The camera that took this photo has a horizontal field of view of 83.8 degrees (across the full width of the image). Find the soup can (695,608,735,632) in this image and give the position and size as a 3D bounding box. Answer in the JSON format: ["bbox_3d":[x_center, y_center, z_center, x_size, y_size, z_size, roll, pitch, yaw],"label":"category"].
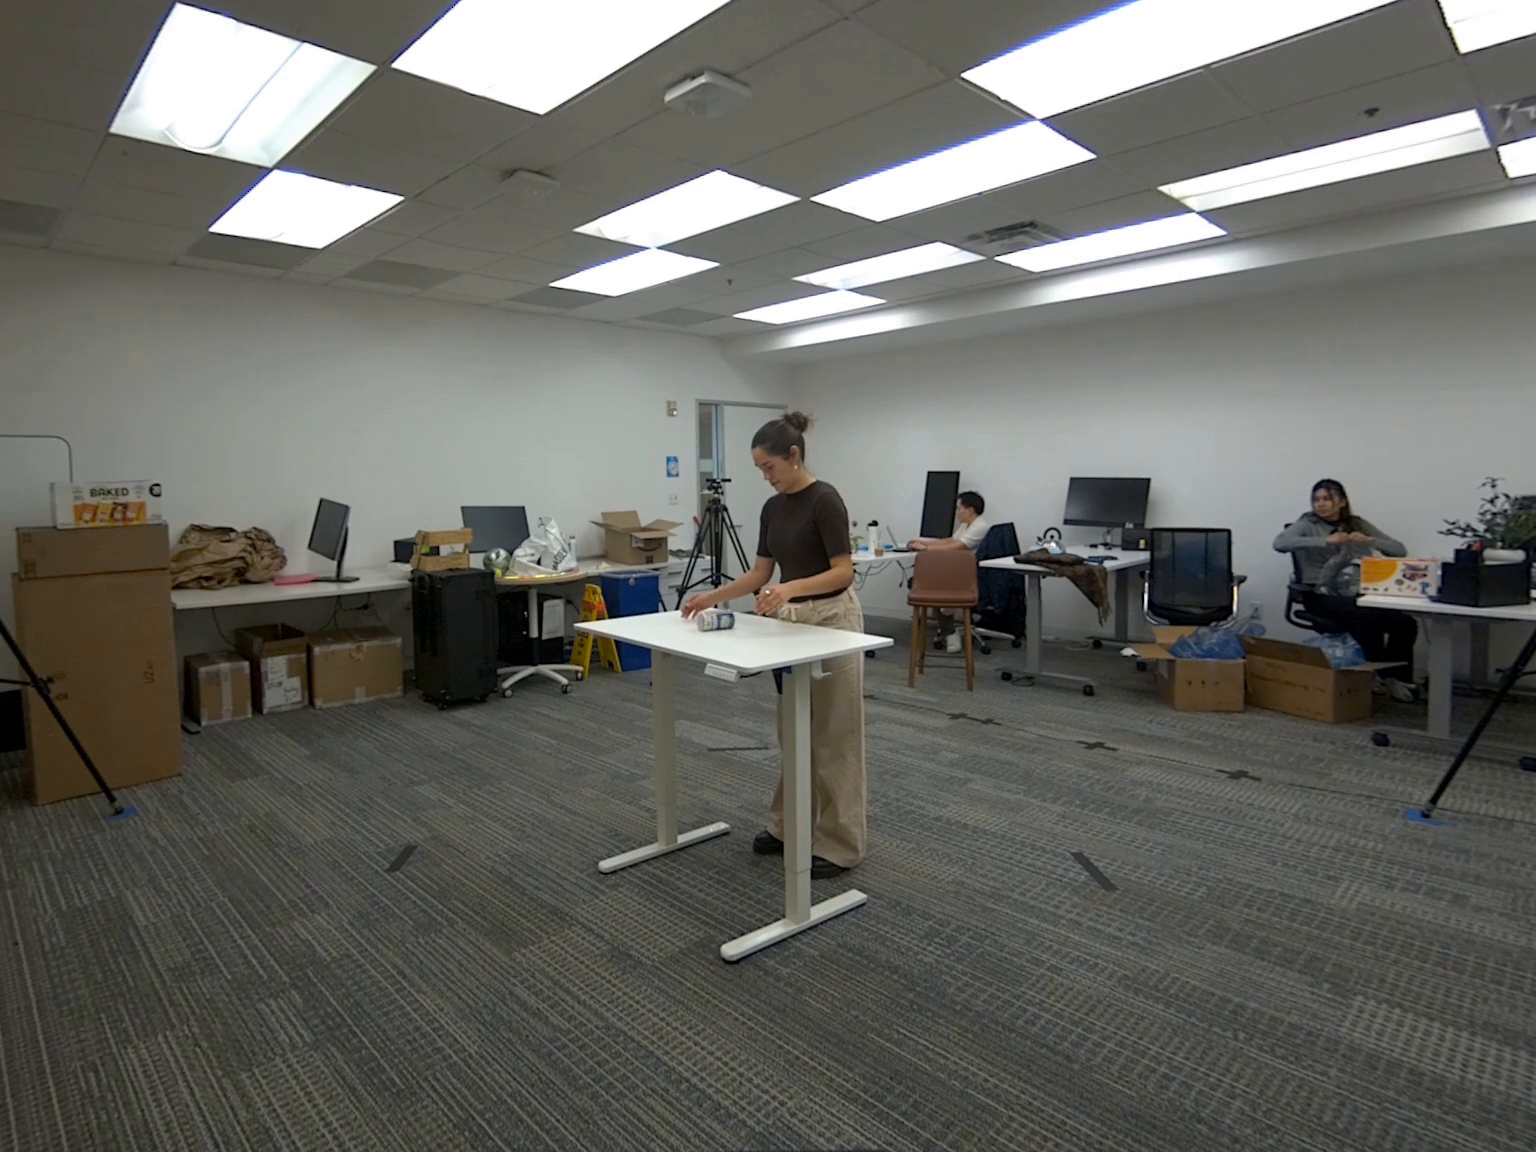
[{"bbox_3d":[-0.187,0.154,2.930,0.119,0.067,0.069,-3,5,-26],"label":"soup can"}]
